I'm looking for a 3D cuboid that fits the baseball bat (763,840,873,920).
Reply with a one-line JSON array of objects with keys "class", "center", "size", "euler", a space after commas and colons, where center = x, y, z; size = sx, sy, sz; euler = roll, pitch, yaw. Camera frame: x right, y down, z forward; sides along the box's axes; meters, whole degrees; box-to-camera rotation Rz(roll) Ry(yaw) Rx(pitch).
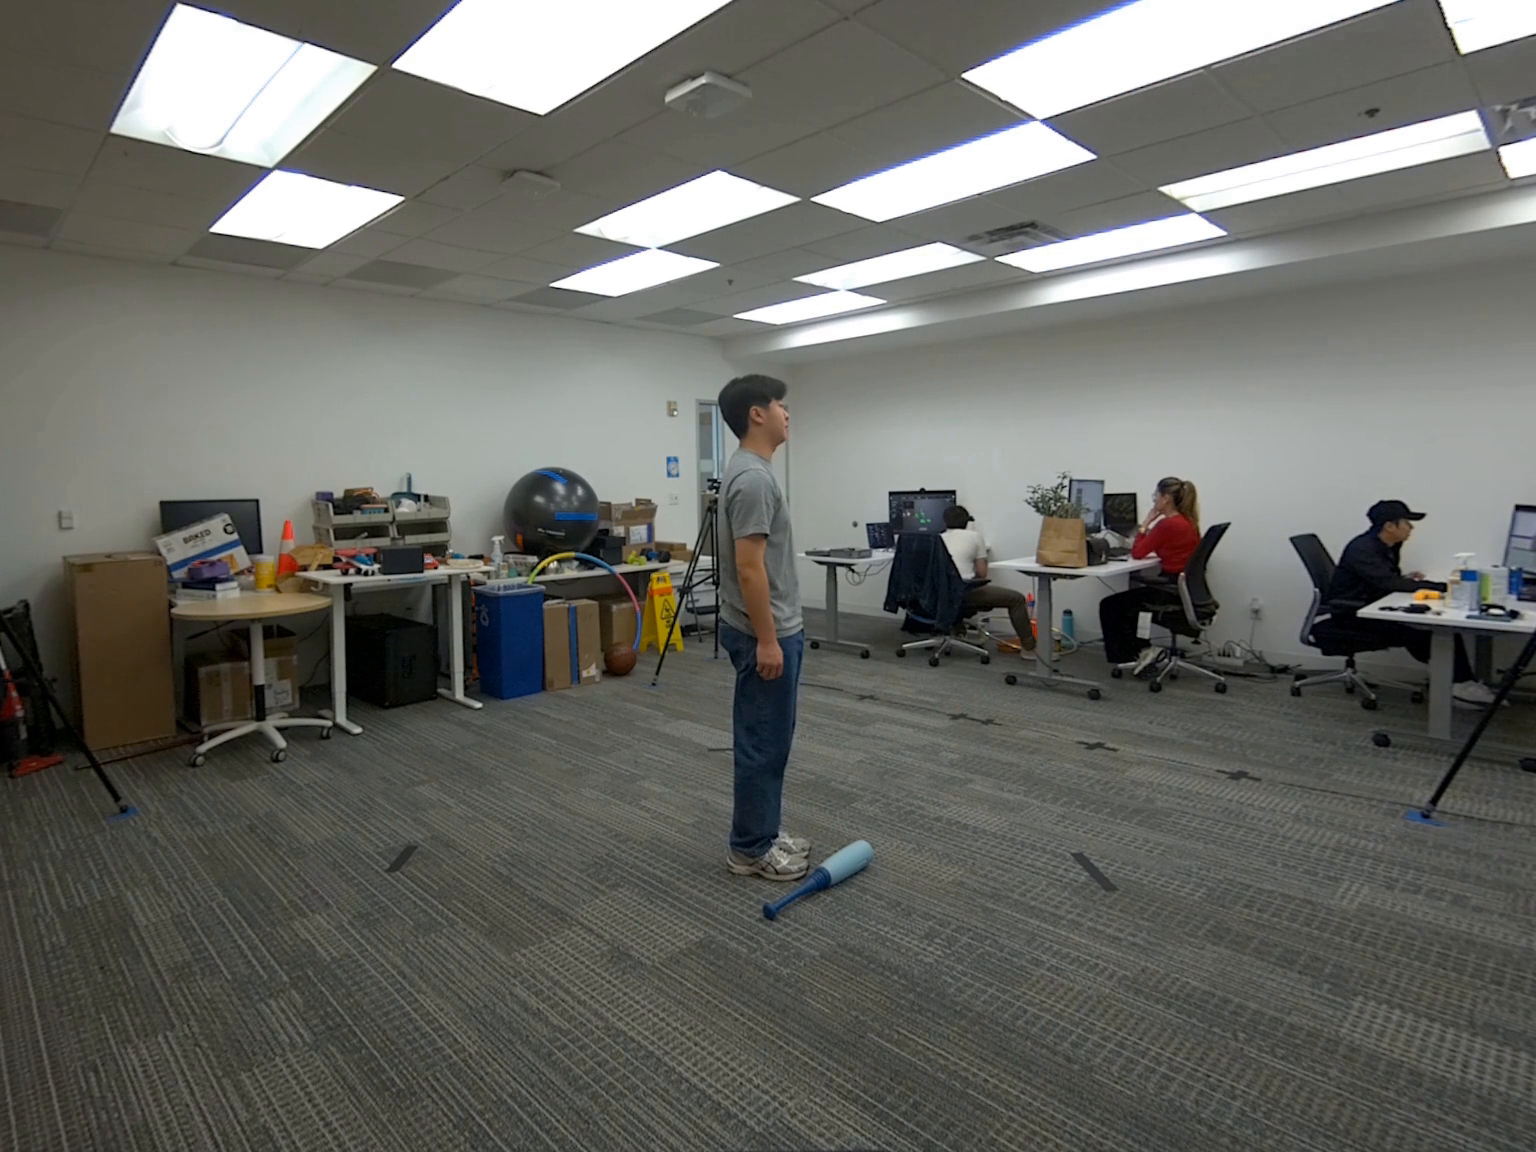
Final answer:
[{"class": "baseball bat", "center": [0.180, 1.031, 2.892], "size": [0.092, 0.088, 0.530], "euler": [3, 11, 42]}]
